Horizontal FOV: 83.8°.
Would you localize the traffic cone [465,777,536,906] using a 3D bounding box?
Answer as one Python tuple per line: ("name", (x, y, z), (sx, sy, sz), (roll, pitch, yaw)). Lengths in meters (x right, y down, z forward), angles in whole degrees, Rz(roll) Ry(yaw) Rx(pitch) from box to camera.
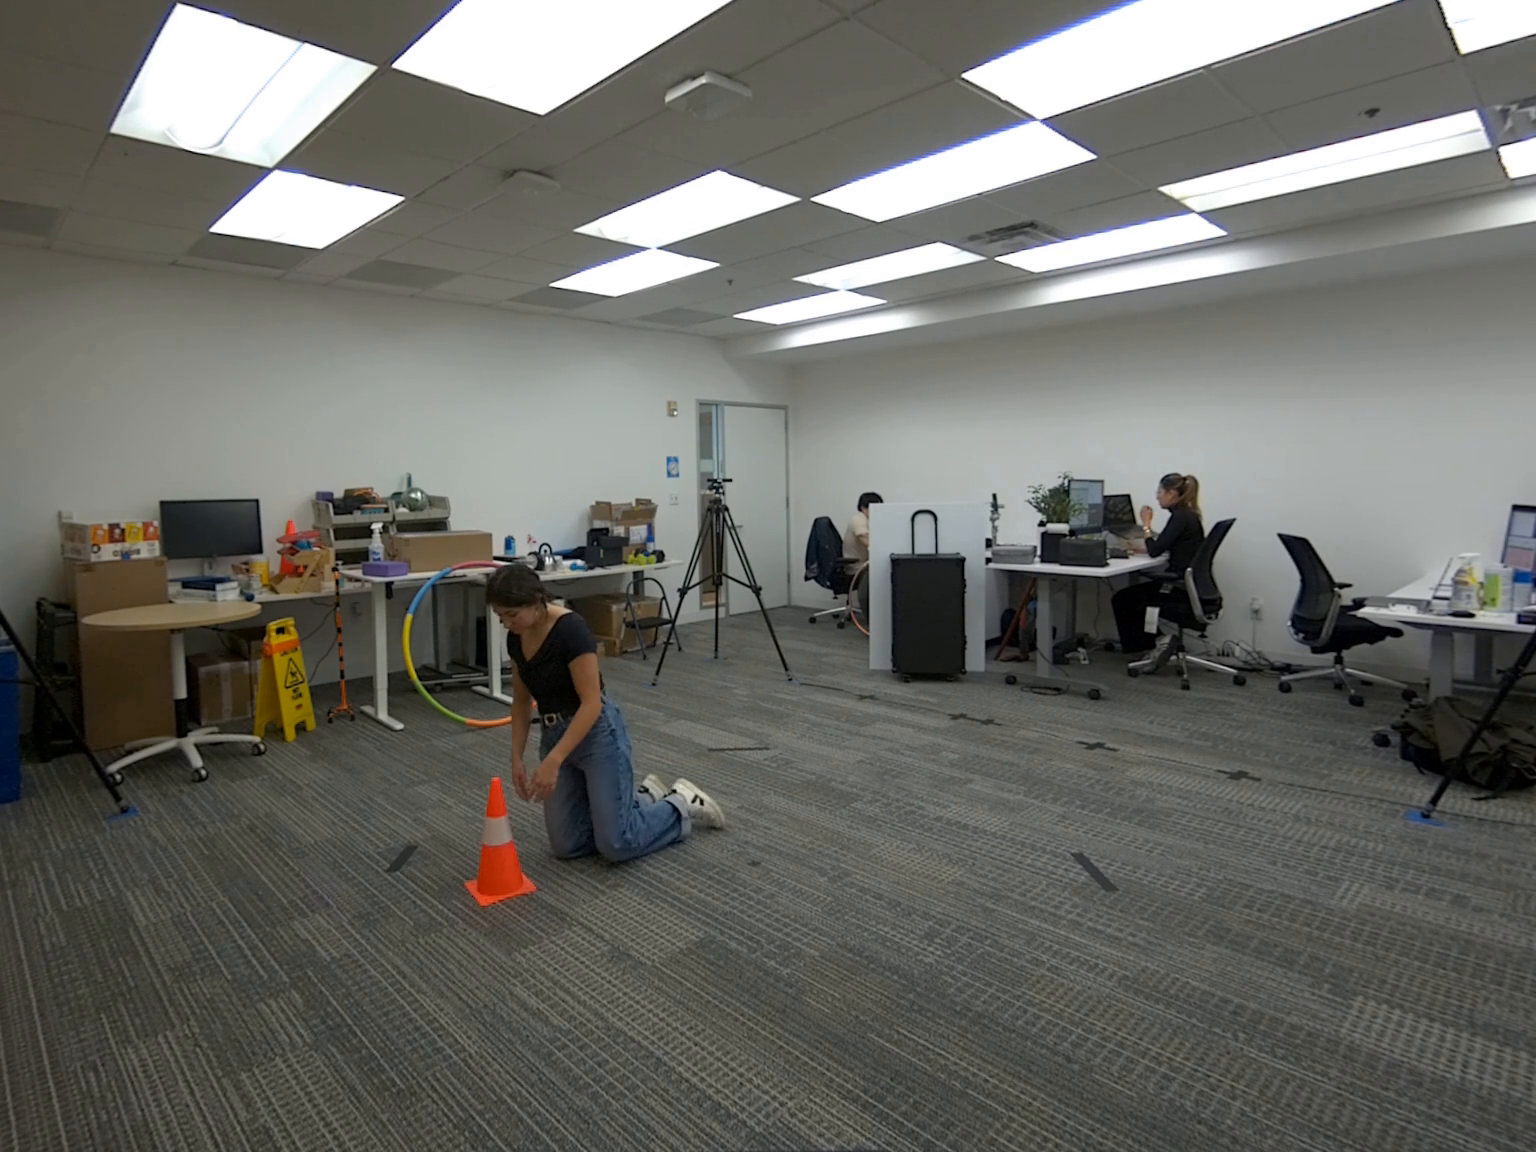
("traffic cone", (-0.930, 0.894, 2.961), (0.198, 0.382, 0.210), (-3, 4, -31))
